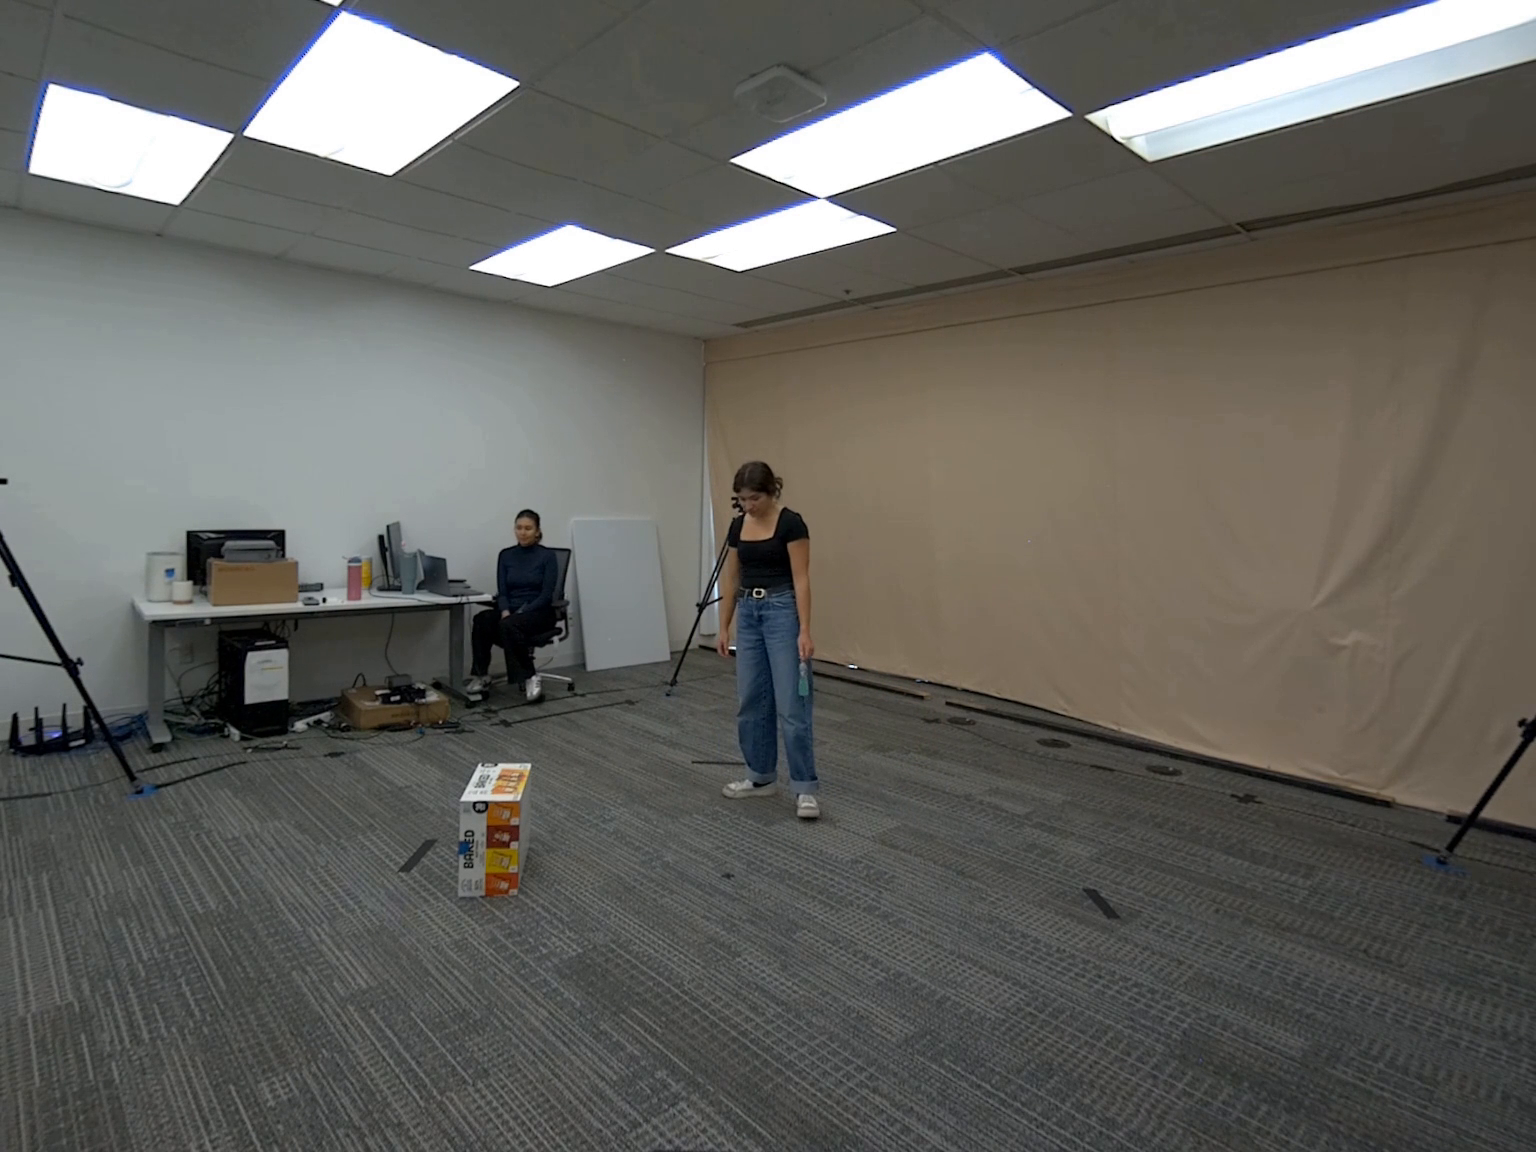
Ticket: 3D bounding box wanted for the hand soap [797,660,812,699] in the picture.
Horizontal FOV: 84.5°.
[{"bbox_3d":[0.144,0.437,3.679,0.043,0.167,0.085,-2,5,1],"label":"hand soap"}]
